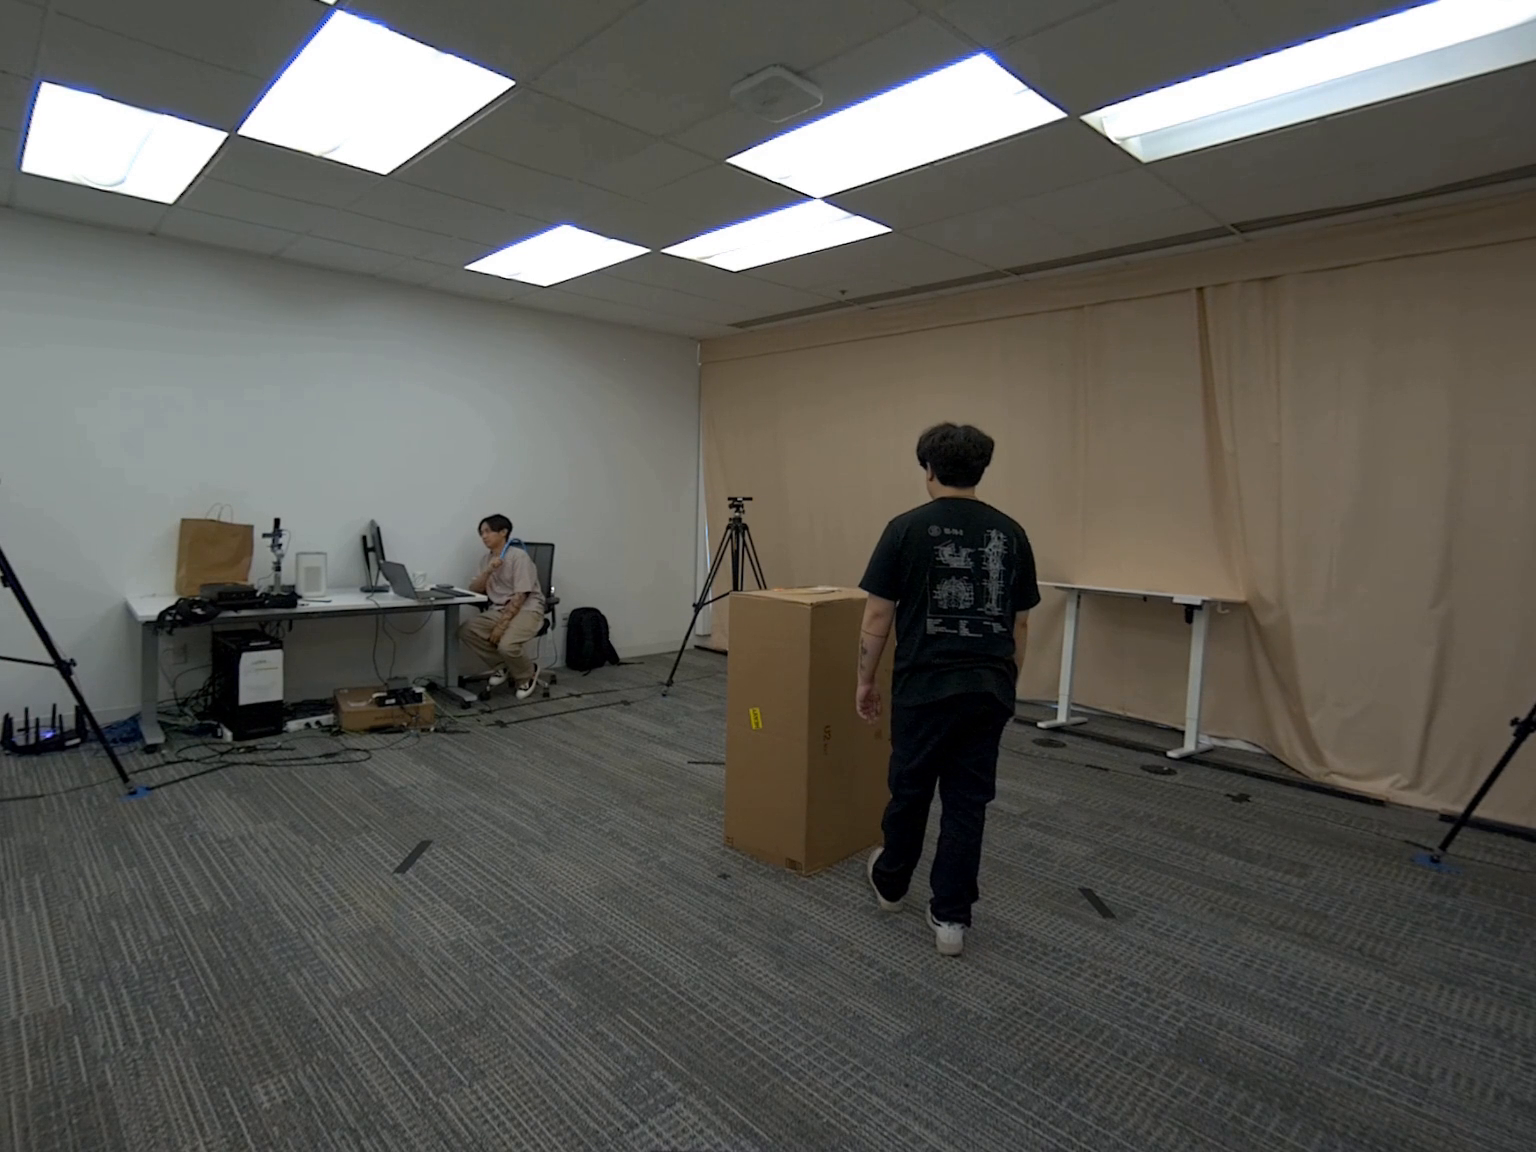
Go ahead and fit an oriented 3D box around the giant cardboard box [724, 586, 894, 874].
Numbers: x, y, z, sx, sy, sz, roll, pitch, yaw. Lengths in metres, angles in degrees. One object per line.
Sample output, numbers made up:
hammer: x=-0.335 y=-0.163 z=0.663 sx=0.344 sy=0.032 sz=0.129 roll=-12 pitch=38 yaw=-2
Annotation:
giant cardboard box: x=0.170 y=0.576 z=3.436 sx=0.458 sy=1.025 sz=0.570 roll=3 pitch=3 yaw=44
